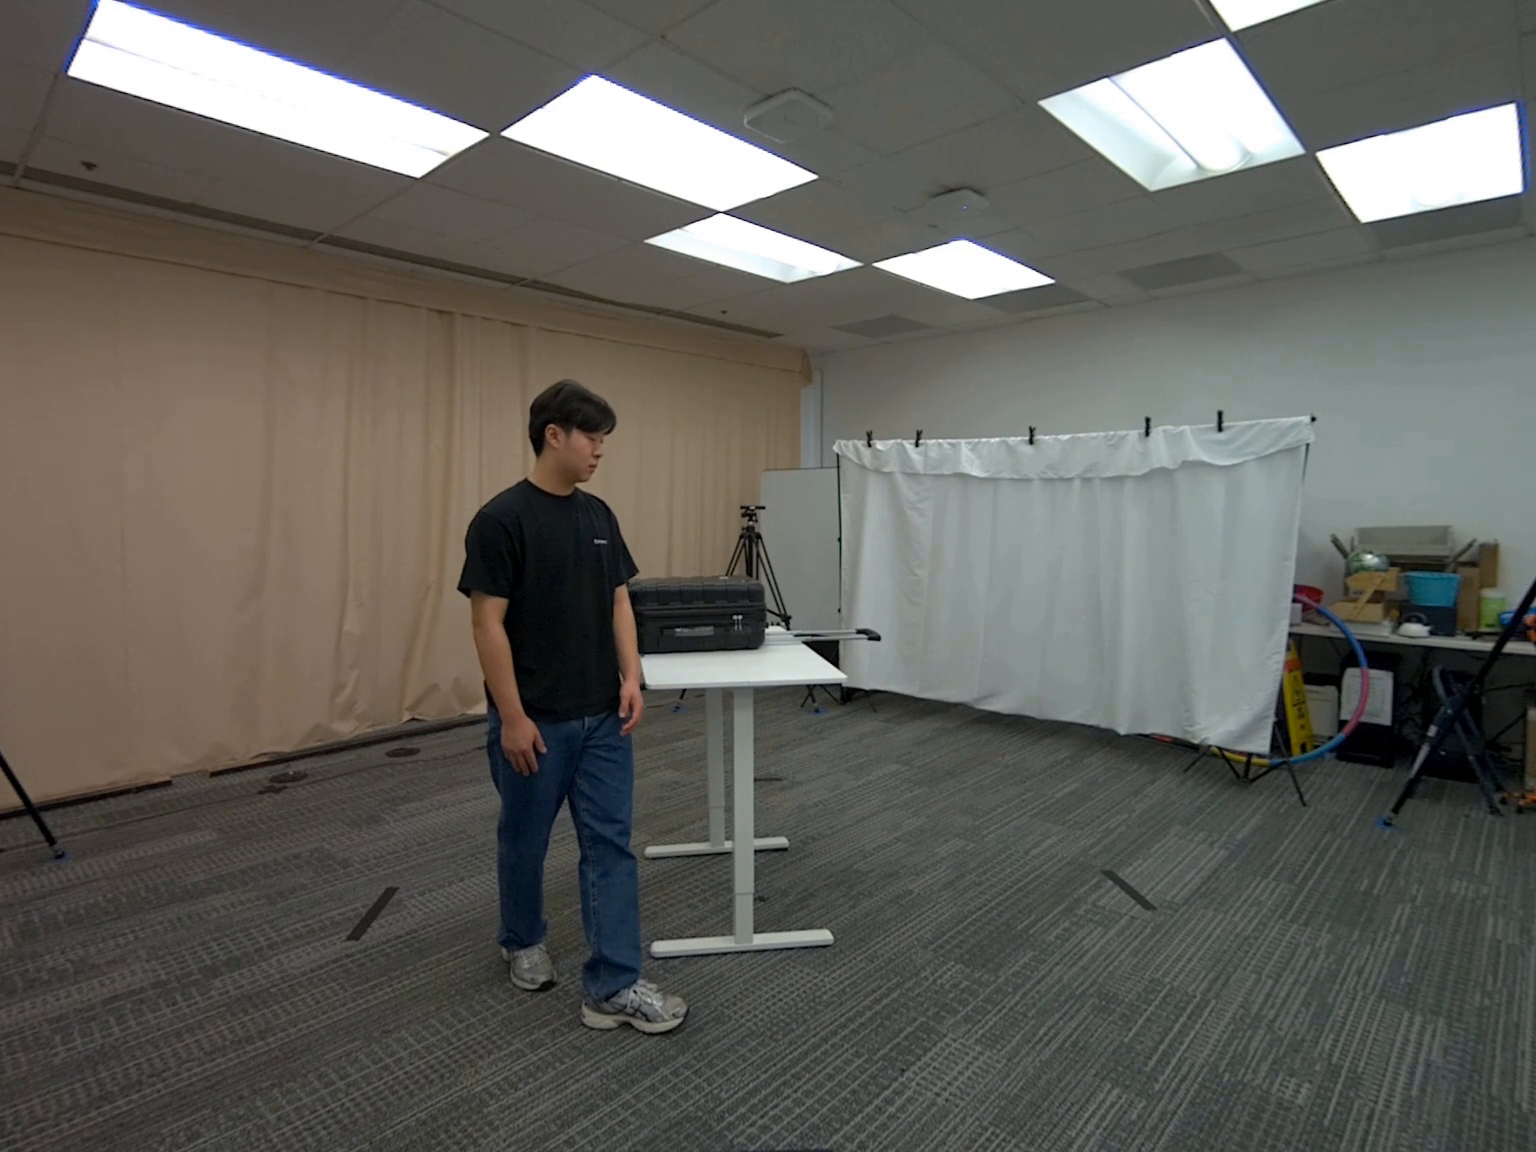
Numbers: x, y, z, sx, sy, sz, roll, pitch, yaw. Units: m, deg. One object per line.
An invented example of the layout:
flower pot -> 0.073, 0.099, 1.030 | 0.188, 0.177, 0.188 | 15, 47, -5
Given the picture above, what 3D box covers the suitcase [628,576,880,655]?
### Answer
suitcase -> -0.080, 0.126, 3.107 | 0.970, 0.256, 0.388 | -4, 4, -9
